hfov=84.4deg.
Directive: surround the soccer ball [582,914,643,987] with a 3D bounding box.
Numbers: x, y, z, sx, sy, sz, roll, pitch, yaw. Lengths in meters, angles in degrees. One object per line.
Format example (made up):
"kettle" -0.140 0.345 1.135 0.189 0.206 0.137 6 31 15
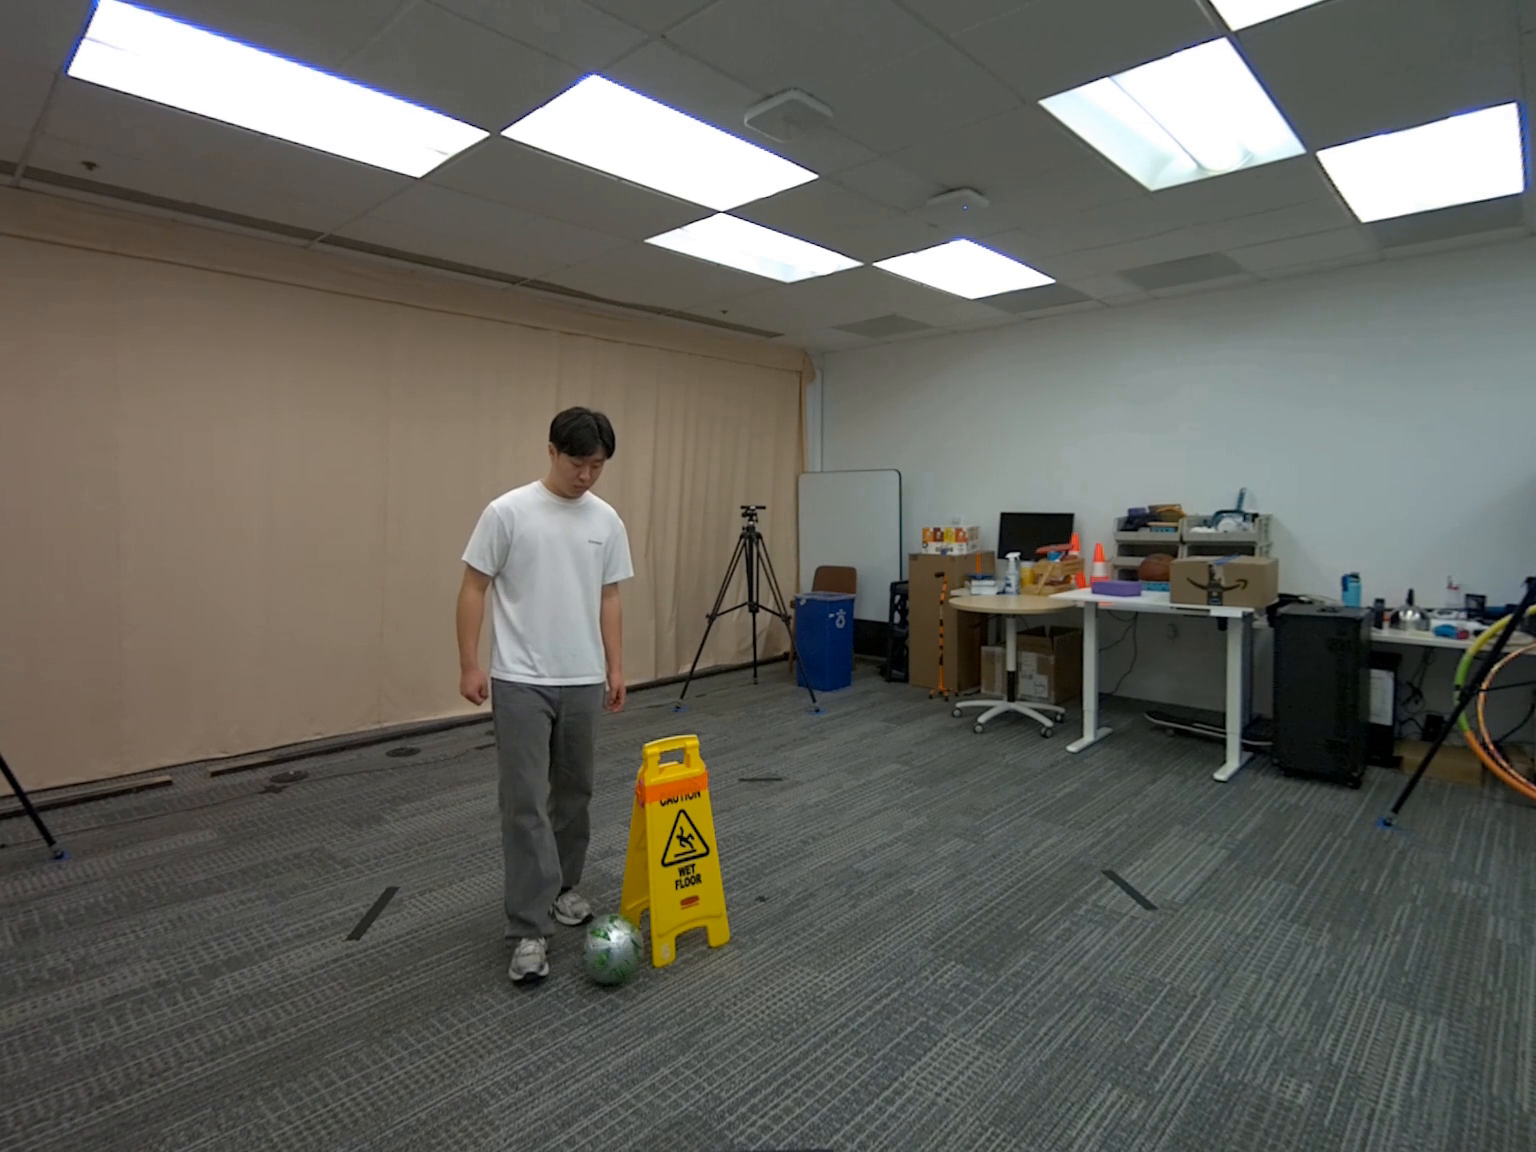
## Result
"soccer ball" -0.460 1.093 2.471 0.187 0.187 0.188 0 4 -2
